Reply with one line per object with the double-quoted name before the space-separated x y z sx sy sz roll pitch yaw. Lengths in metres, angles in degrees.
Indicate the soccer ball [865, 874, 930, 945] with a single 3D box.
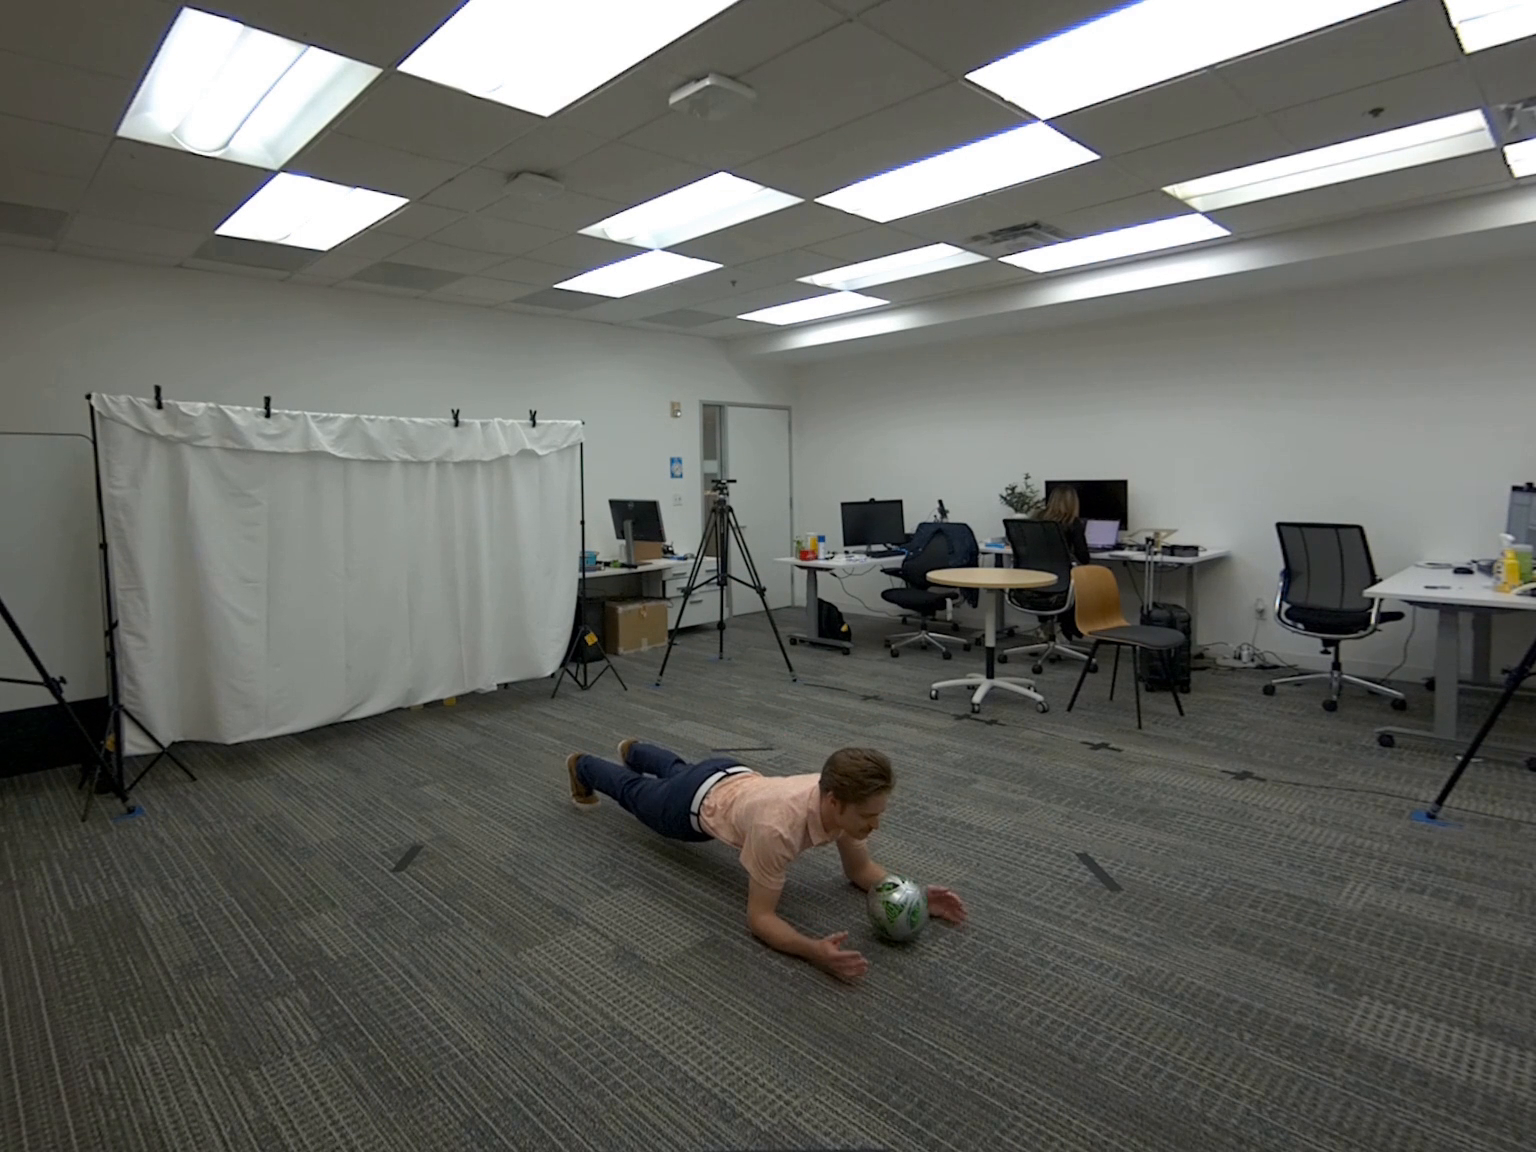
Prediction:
"soccer ball" 0.392 1.001 2.586 0.187 0.187 0.188 -1 5 -2
